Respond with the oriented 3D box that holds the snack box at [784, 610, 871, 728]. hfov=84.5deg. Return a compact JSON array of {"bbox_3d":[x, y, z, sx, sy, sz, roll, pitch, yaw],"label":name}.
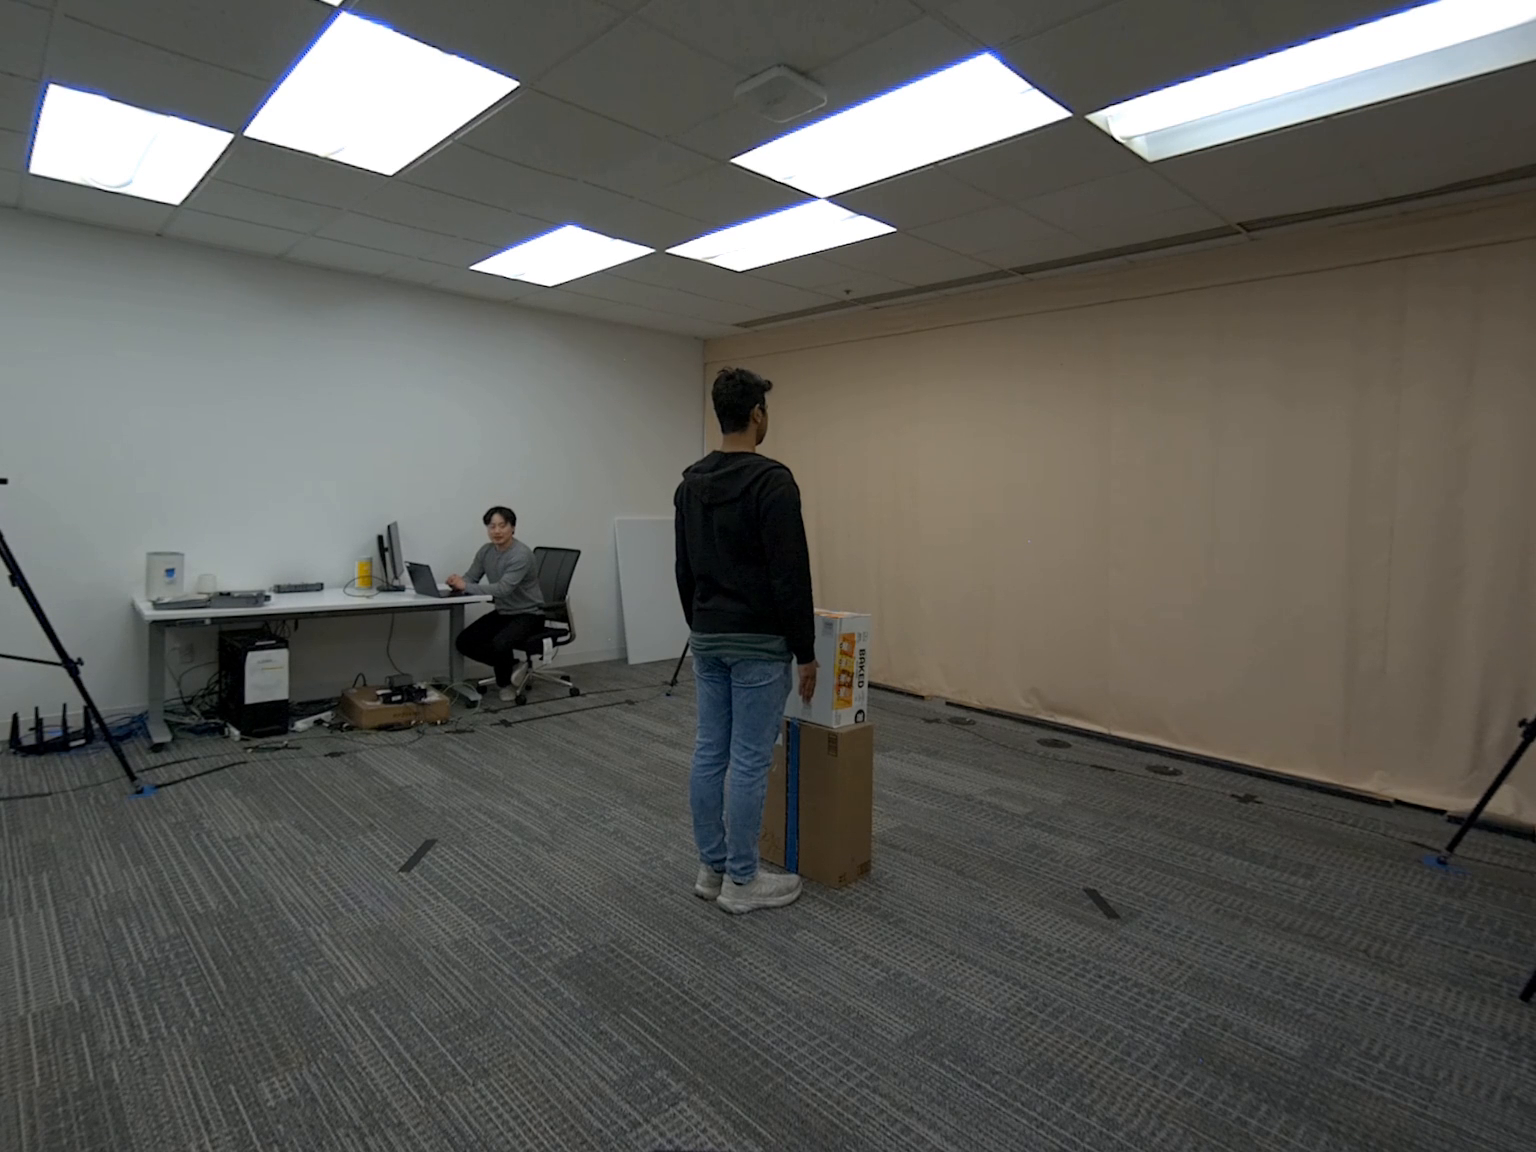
[{"bbox_3d":[0.178,0.335,3.216,0.201,0.405,0.349,1,3,-45],"label":"snack box"}]
